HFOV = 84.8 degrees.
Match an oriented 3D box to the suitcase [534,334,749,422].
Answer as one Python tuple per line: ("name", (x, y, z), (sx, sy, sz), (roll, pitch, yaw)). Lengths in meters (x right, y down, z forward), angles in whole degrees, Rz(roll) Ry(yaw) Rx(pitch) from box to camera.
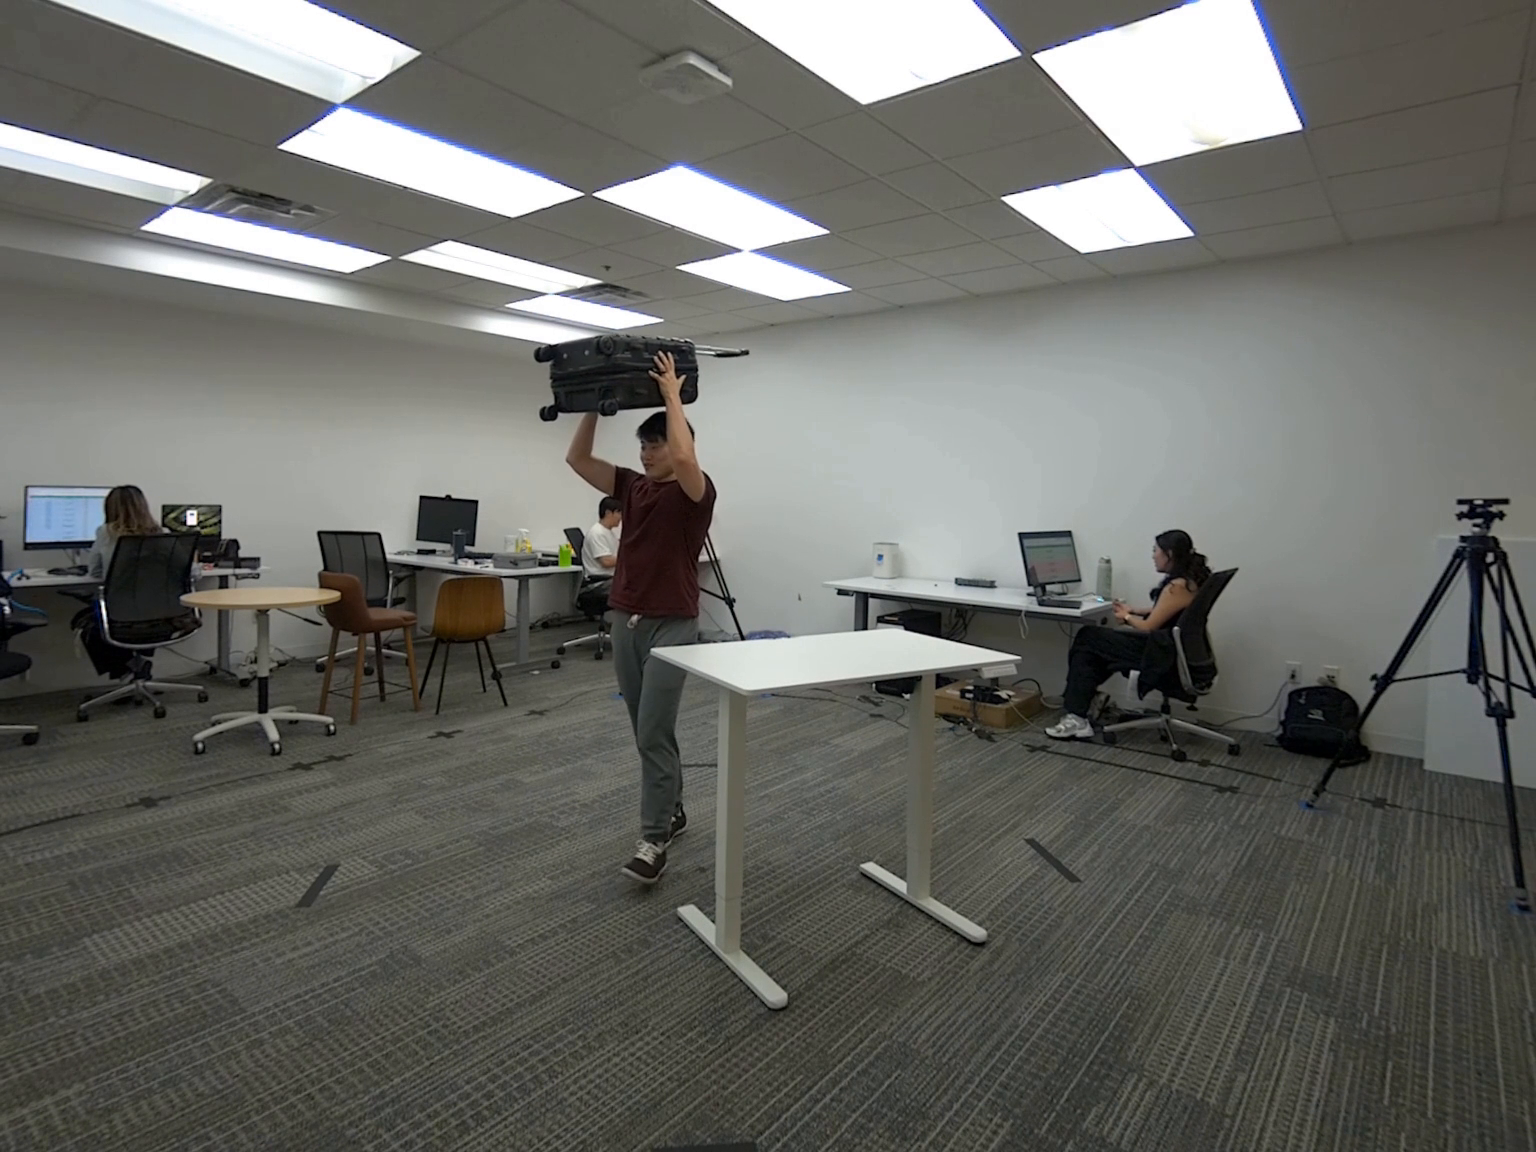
("suitcase", (-0.431, -0.769, 3.273), (0.396, 0.255, 0.956), (4, 12, 35))
